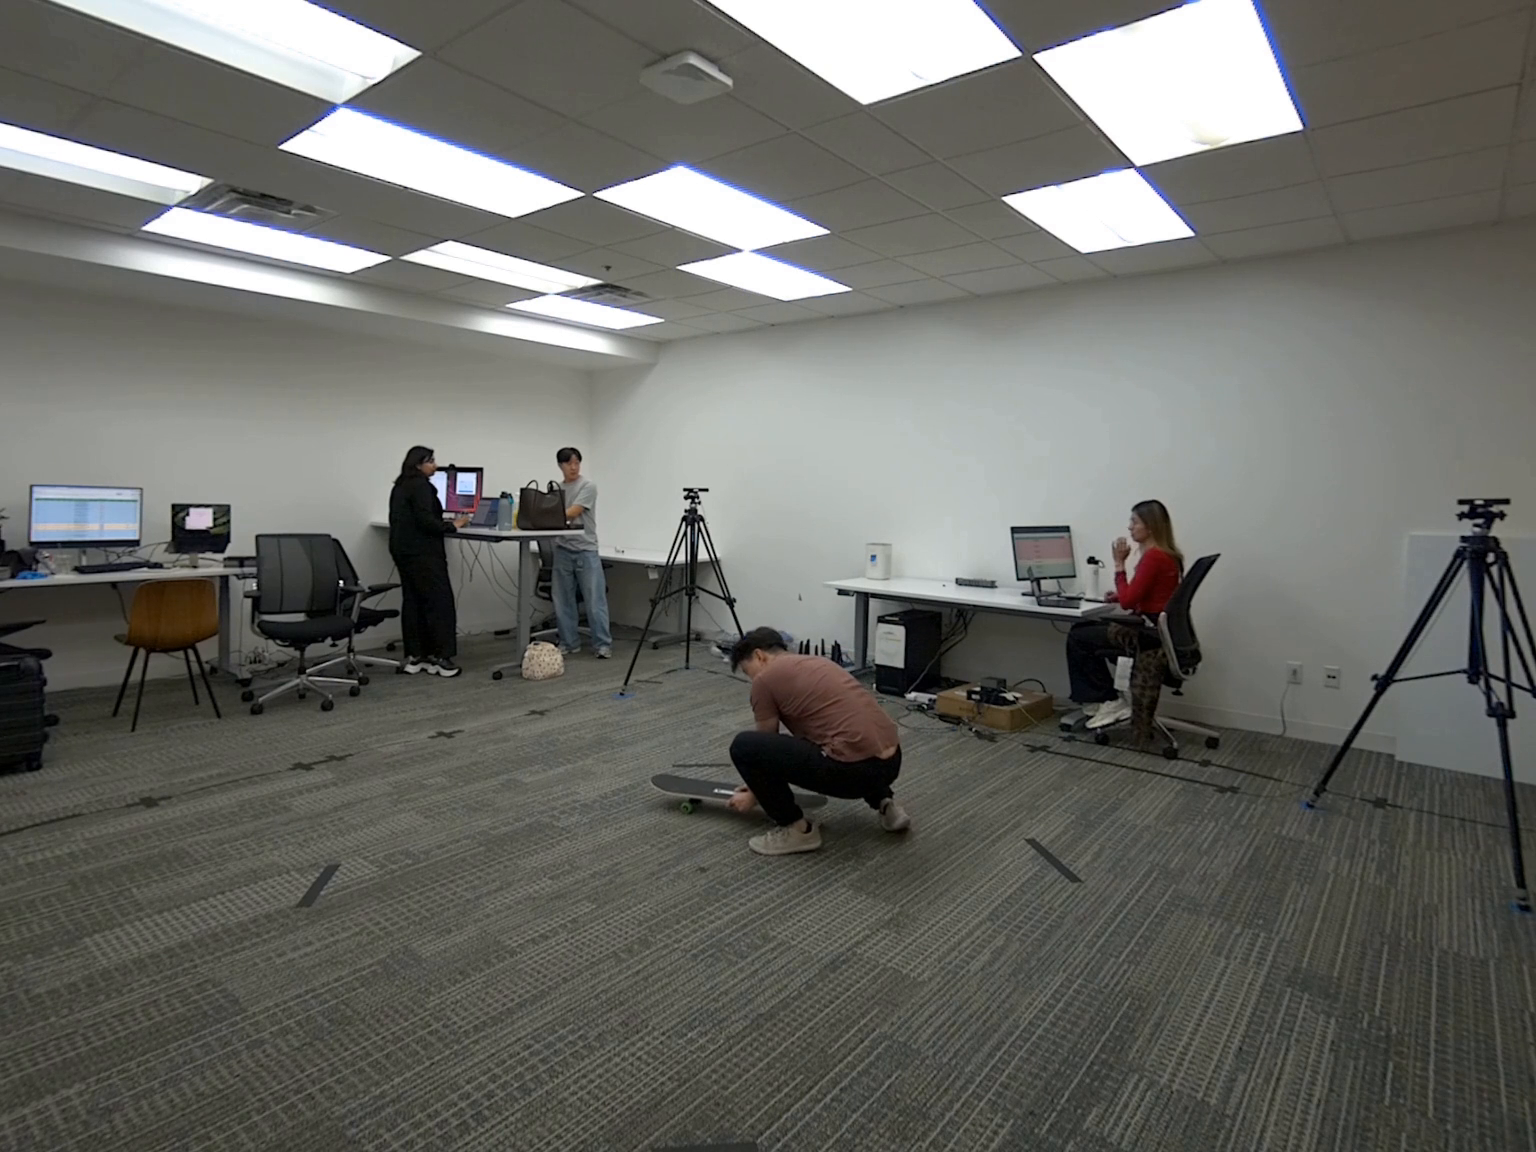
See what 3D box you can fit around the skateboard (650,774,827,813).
[{"bbox_3d":[-0.152,0.960,3.658,0.800,0.110,0.191,3,7,17],"label":"skateboard"}]
